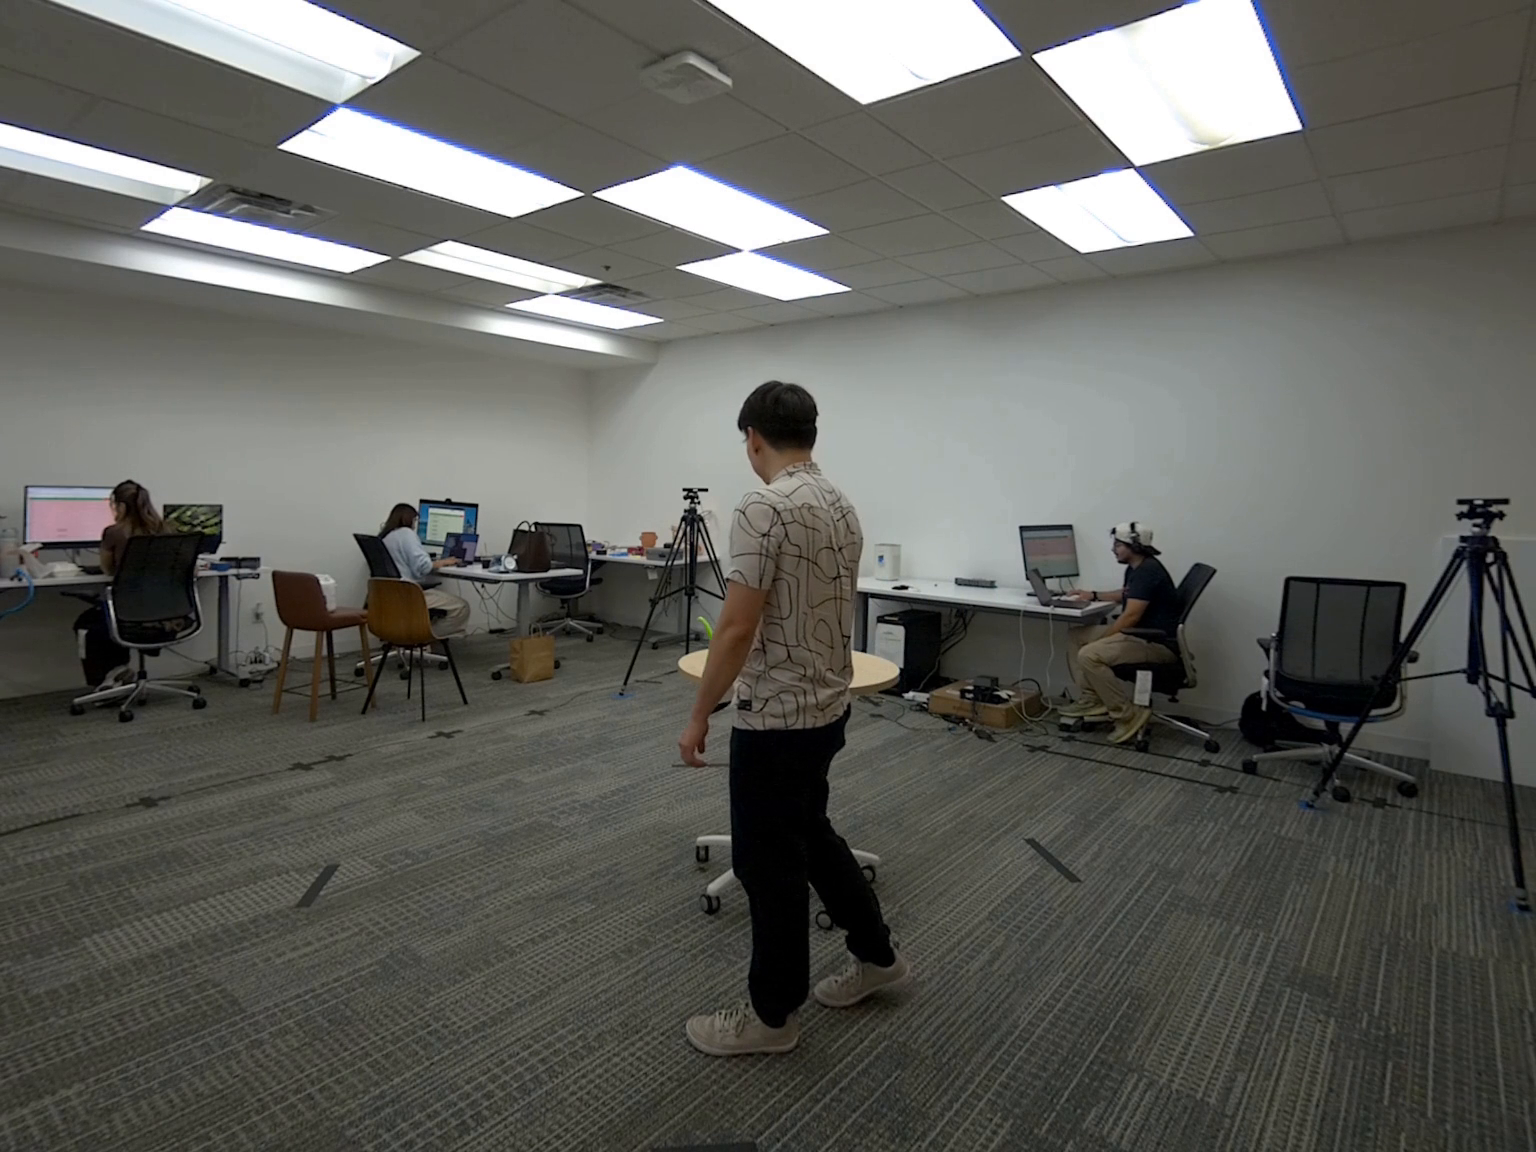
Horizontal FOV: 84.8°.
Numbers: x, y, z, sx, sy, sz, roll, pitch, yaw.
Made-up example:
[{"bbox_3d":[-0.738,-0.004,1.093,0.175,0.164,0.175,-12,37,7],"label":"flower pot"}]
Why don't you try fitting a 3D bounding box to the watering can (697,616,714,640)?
[{"bbox_3d":[-0.131,0.235,2.748,0.095,0.176,0.287,2,6,-32],"label":"watering can"}]
